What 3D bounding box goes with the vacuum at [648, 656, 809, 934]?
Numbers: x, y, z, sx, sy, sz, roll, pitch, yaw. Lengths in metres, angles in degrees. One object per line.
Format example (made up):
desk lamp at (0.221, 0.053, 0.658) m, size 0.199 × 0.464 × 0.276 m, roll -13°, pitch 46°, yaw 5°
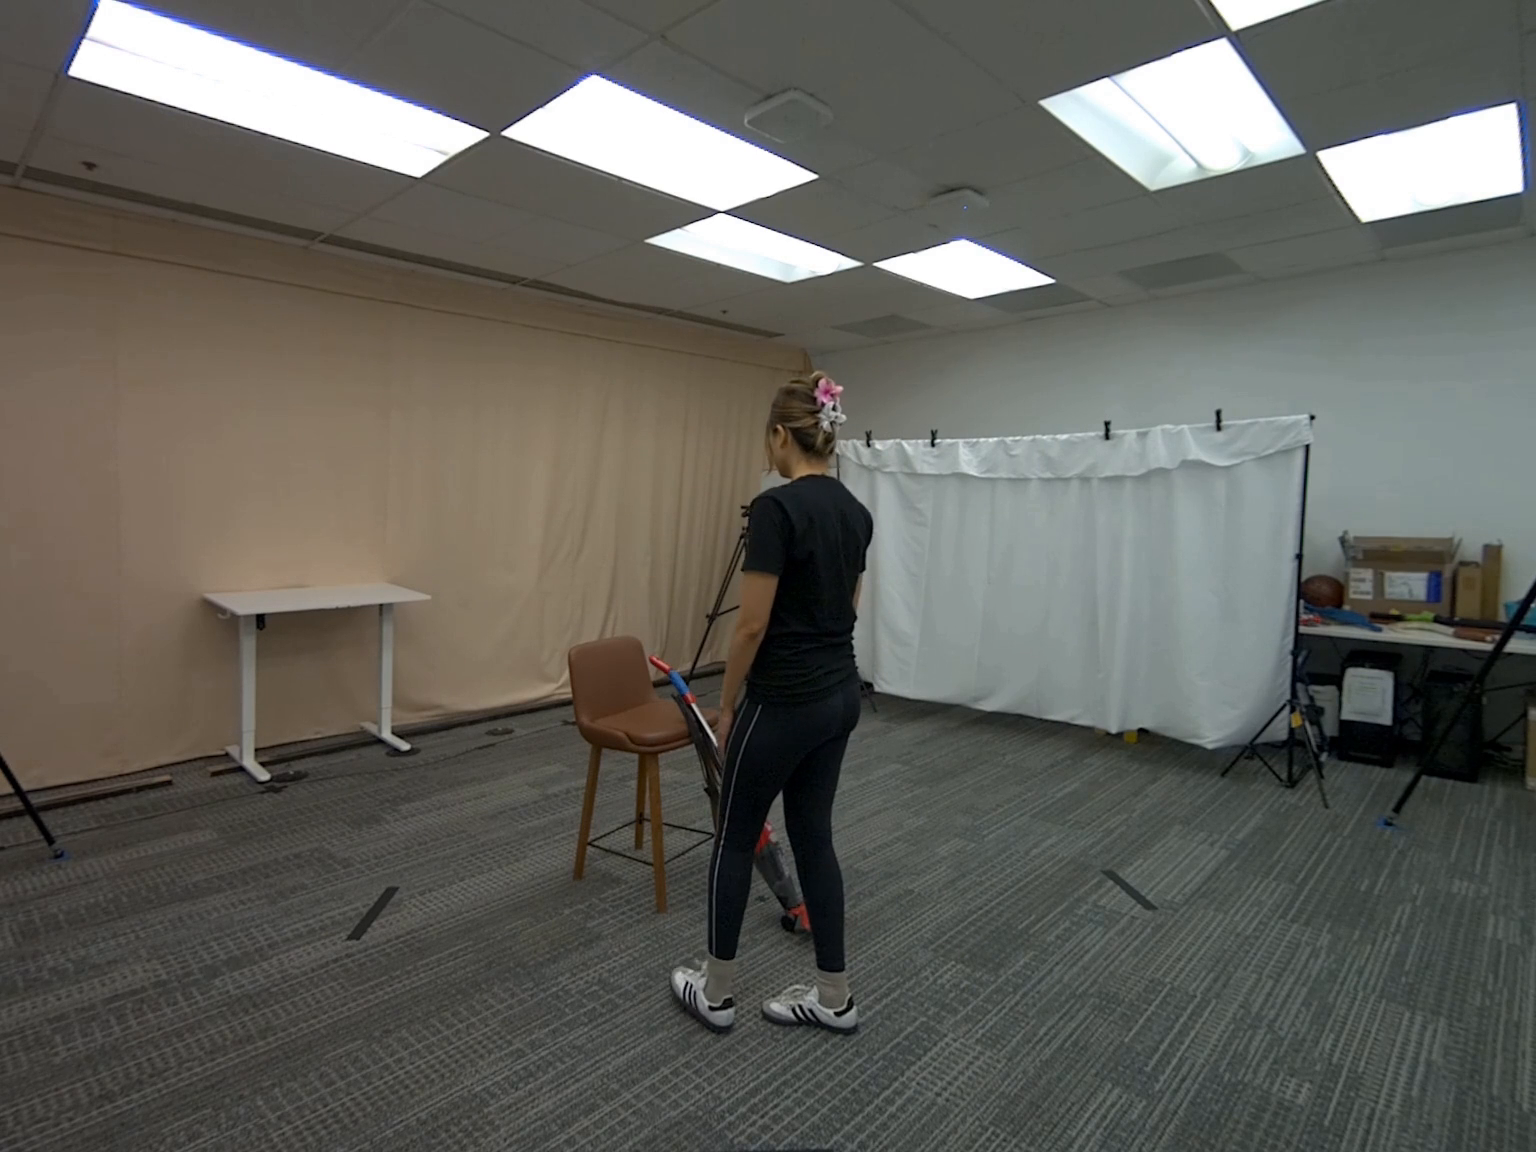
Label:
vacuum at (-0.133, 0.724, 2.944) m, size 0.145 × 1.071 × 0.245 m, roll -43°, pitch -21°, yaw 24°
